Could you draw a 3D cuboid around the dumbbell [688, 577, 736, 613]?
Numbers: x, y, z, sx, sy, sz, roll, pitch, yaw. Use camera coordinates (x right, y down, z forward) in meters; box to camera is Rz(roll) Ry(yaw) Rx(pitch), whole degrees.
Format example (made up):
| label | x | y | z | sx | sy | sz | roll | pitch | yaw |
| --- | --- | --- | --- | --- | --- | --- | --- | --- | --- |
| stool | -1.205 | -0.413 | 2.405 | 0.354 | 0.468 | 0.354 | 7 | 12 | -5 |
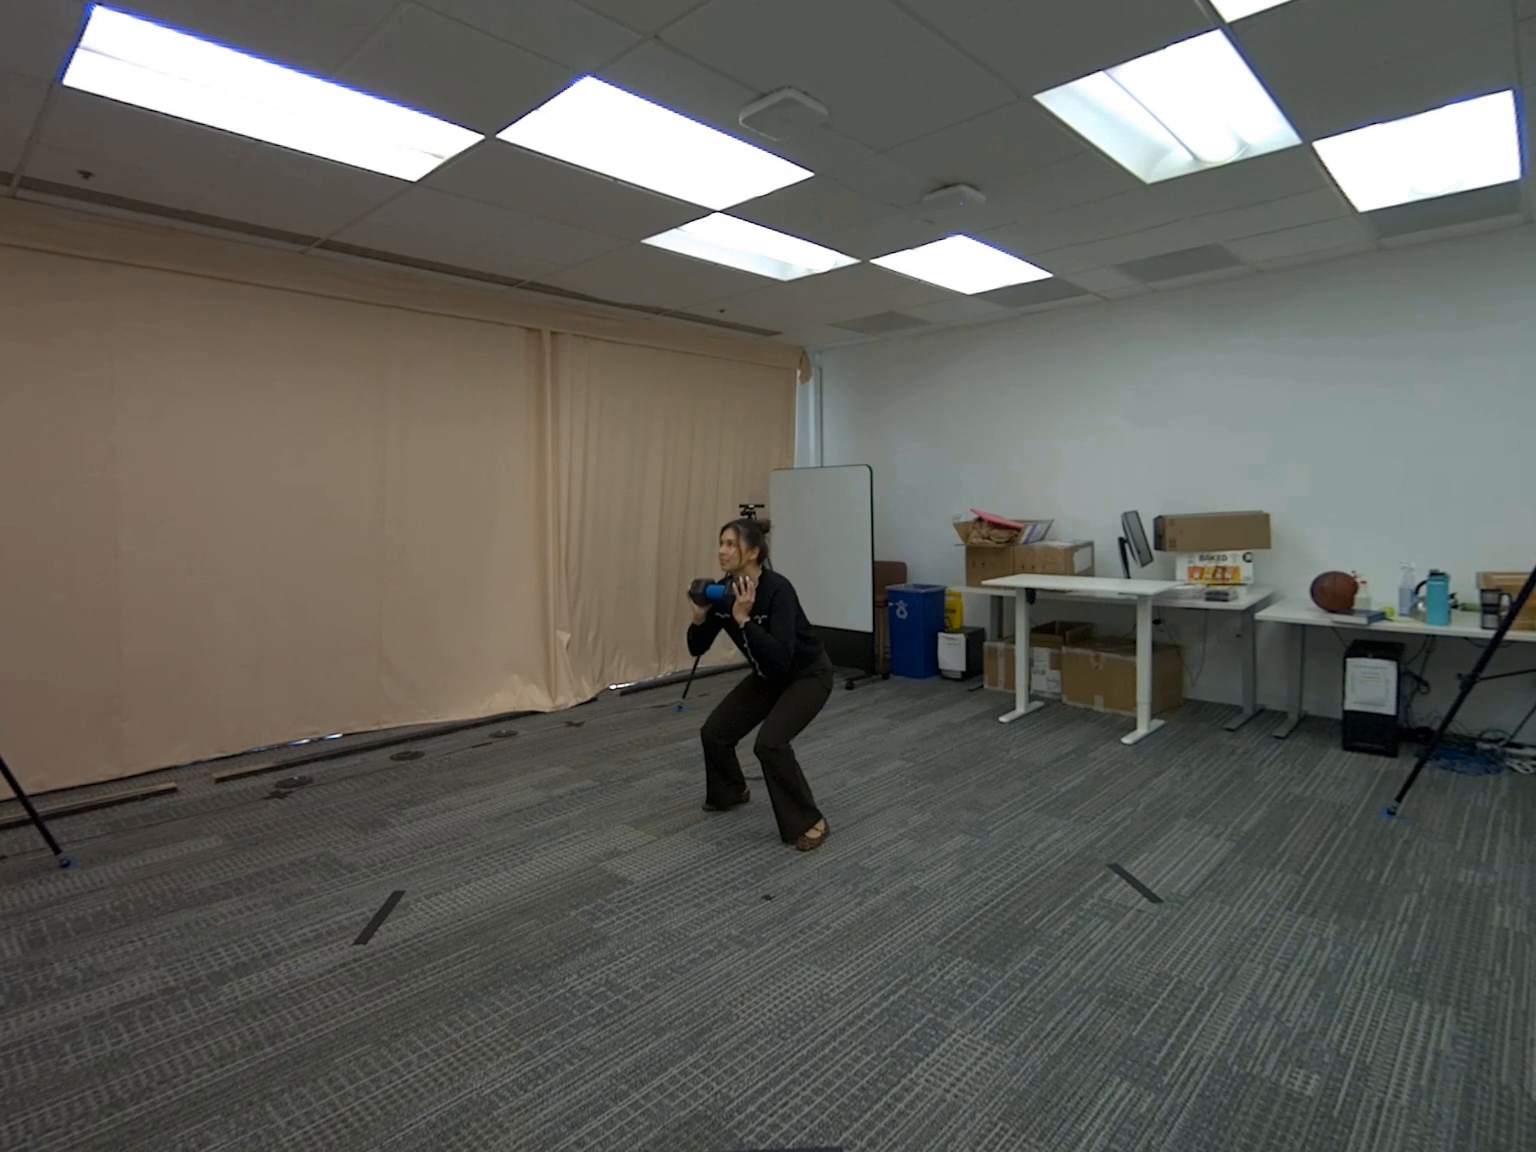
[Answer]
| label | x | y | z | sx | sy | sz | roll | pitch | yaw |
| --- | --- | --- | --- | --- | --- | --- | --- | --- | --- |
| dumbbell | -0.190 | 0.063 | 3.510 | 0.303 | 0.123 | 0.105 | 6 | -25 | 47 |
